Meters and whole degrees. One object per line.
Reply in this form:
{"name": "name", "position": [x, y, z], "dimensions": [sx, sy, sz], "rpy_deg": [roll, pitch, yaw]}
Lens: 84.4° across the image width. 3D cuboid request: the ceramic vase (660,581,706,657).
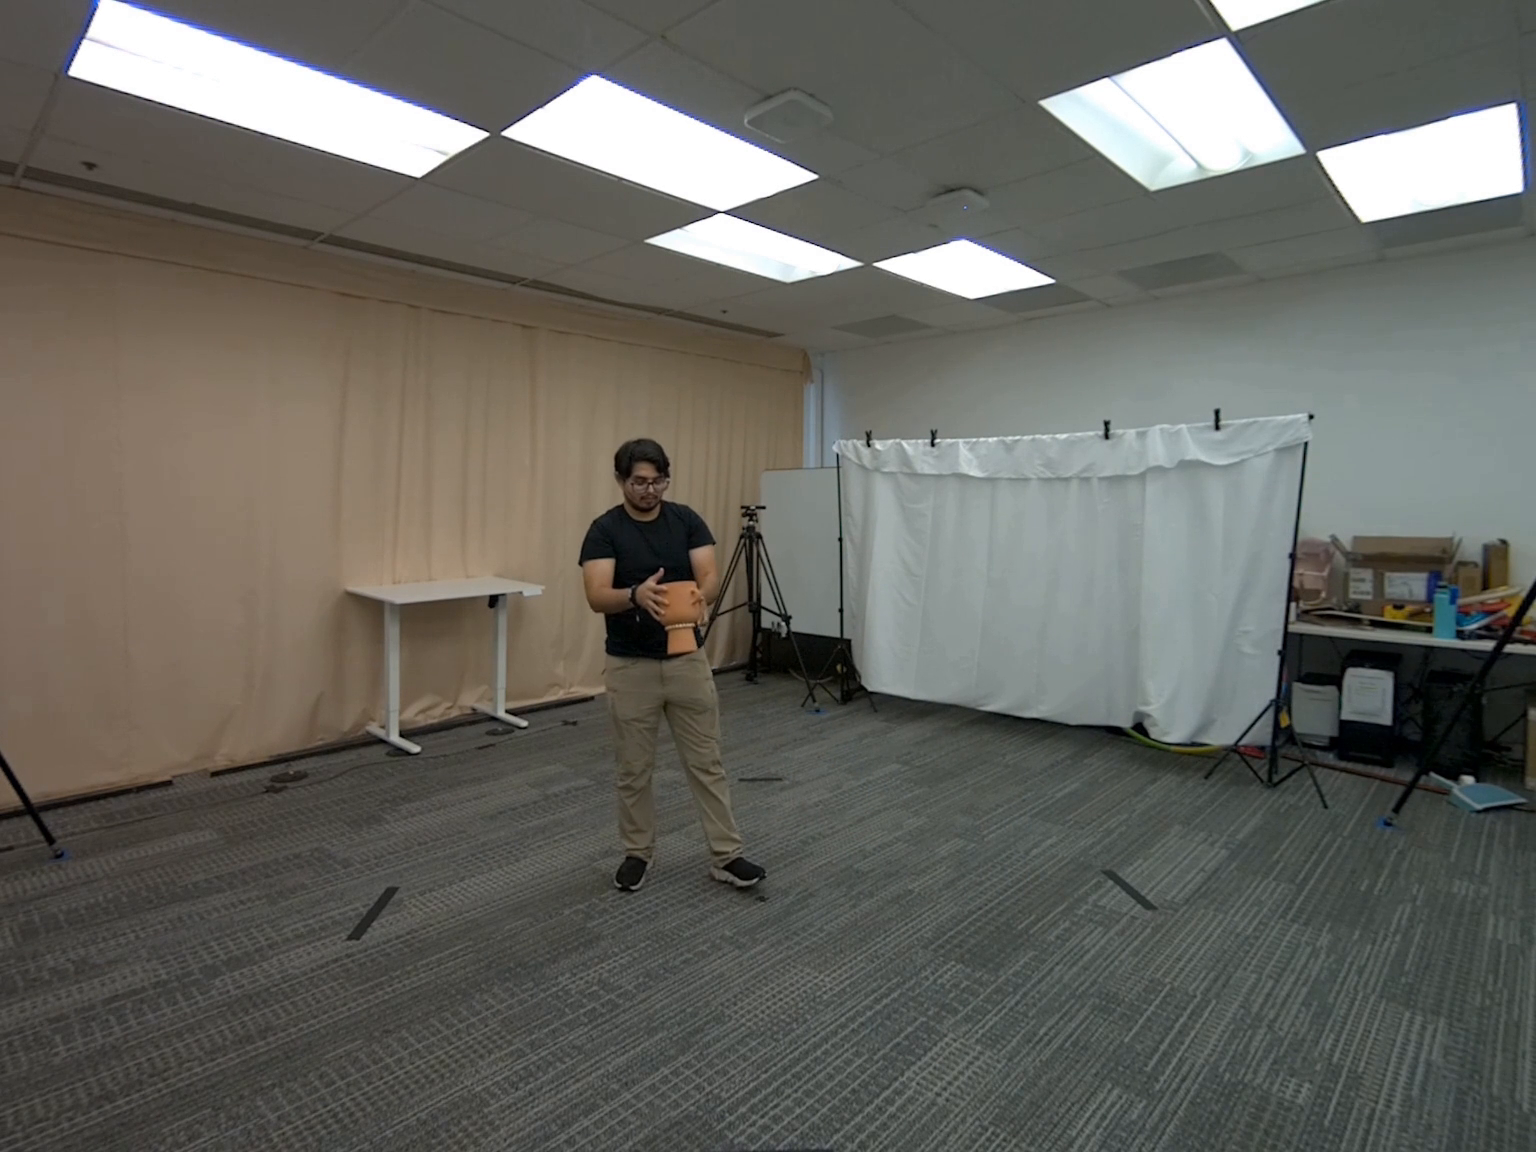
{"name": "ceramic vase", "position": [-0.285, 0.133, 2.690], "dimensions": [0.132, 0.221, 0.160], "rpy_deg": [-4, -7, -16]}
